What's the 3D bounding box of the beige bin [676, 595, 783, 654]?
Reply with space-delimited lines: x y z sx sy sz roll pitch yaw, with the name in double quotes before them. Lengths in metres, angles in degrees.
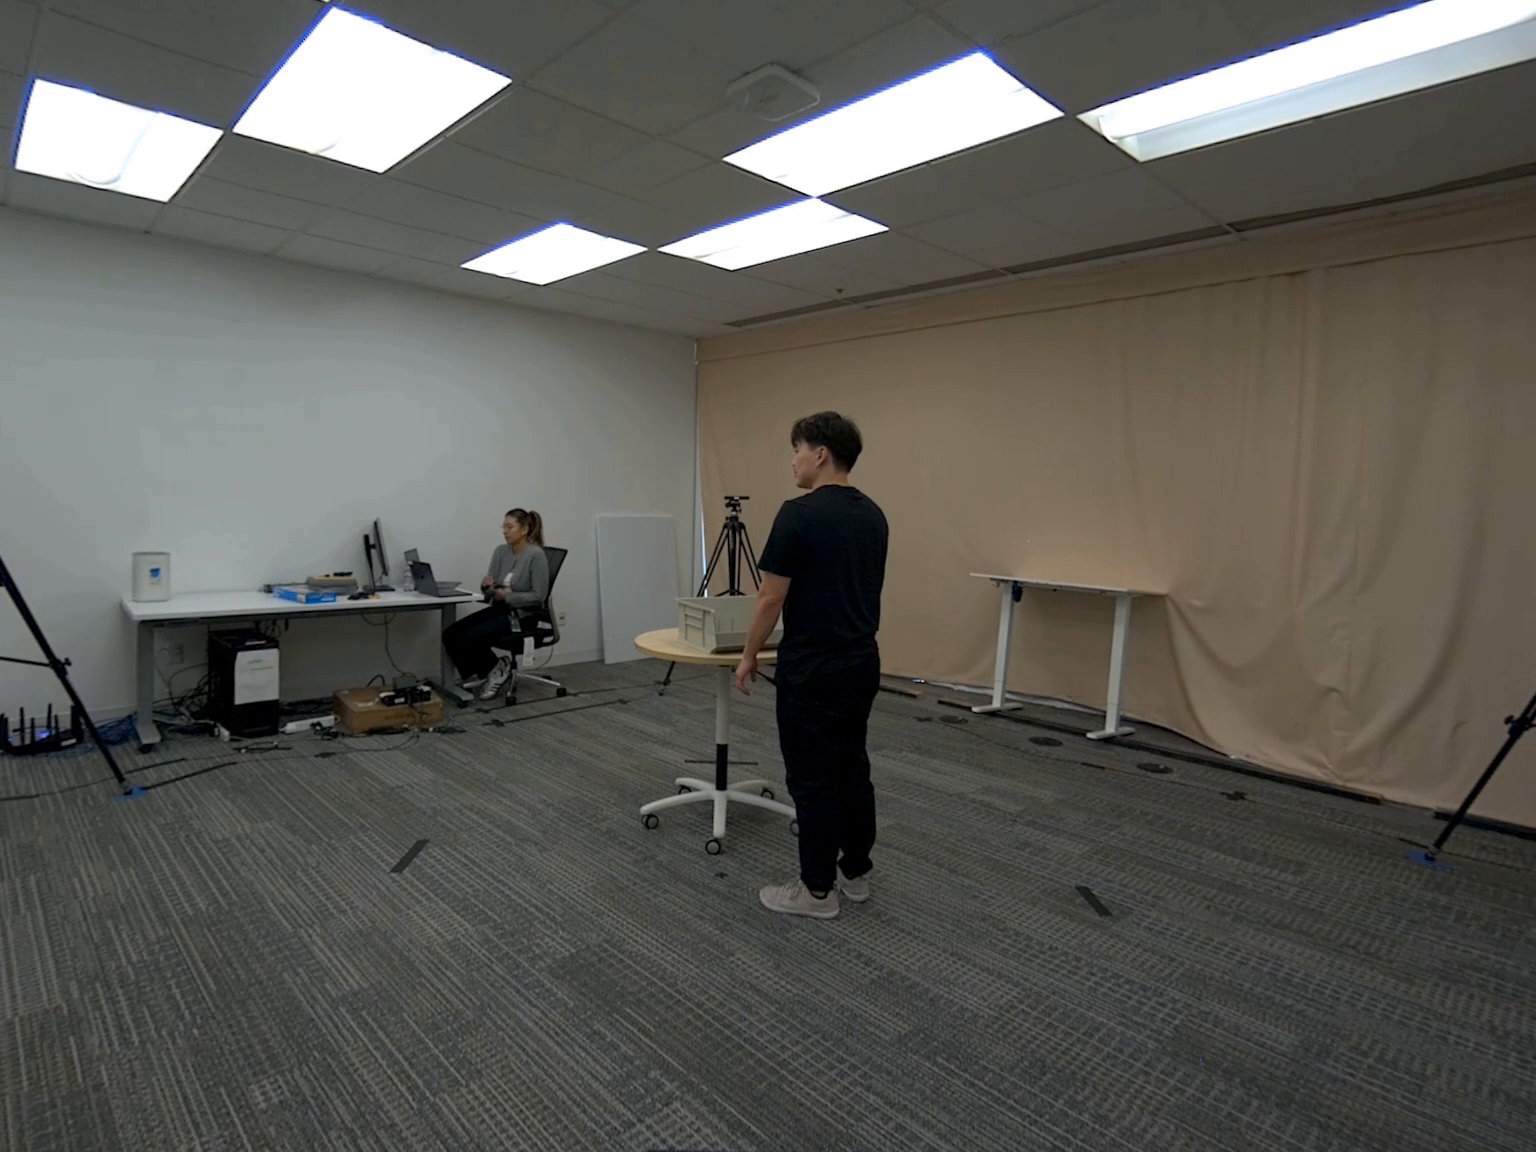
"beige bin" -0.122 0.200 3.484 0.414 0.188 0.385 -2 4 -29
